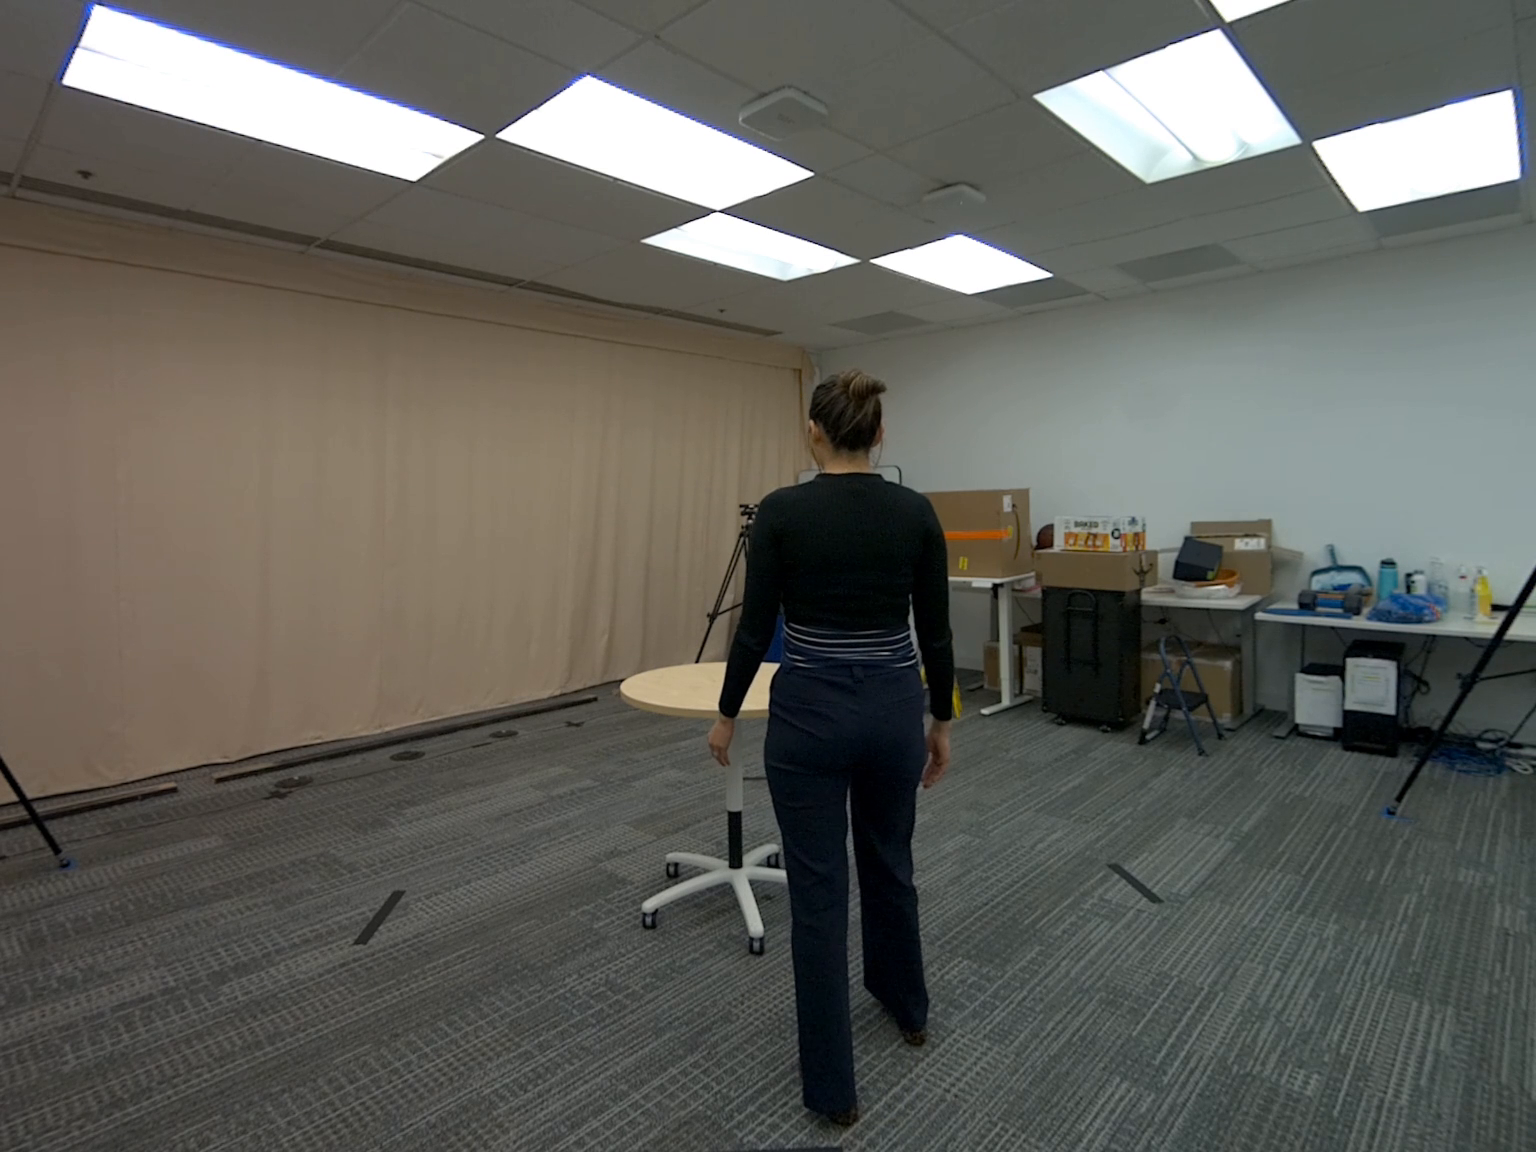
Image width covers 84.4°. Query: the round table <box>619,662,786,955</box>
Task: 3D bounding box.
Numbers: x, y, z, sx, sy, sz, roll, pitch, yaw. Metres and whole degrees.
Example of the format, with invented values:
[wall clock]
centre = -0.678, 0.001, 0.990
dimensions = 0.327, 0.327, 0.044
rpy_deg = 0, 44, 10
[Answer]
[round table]
centre = -0.111, 0.761, 2.903
dimensions = 0.763, 0.792, 0.767
rpy_deg = -1, 4, -2
